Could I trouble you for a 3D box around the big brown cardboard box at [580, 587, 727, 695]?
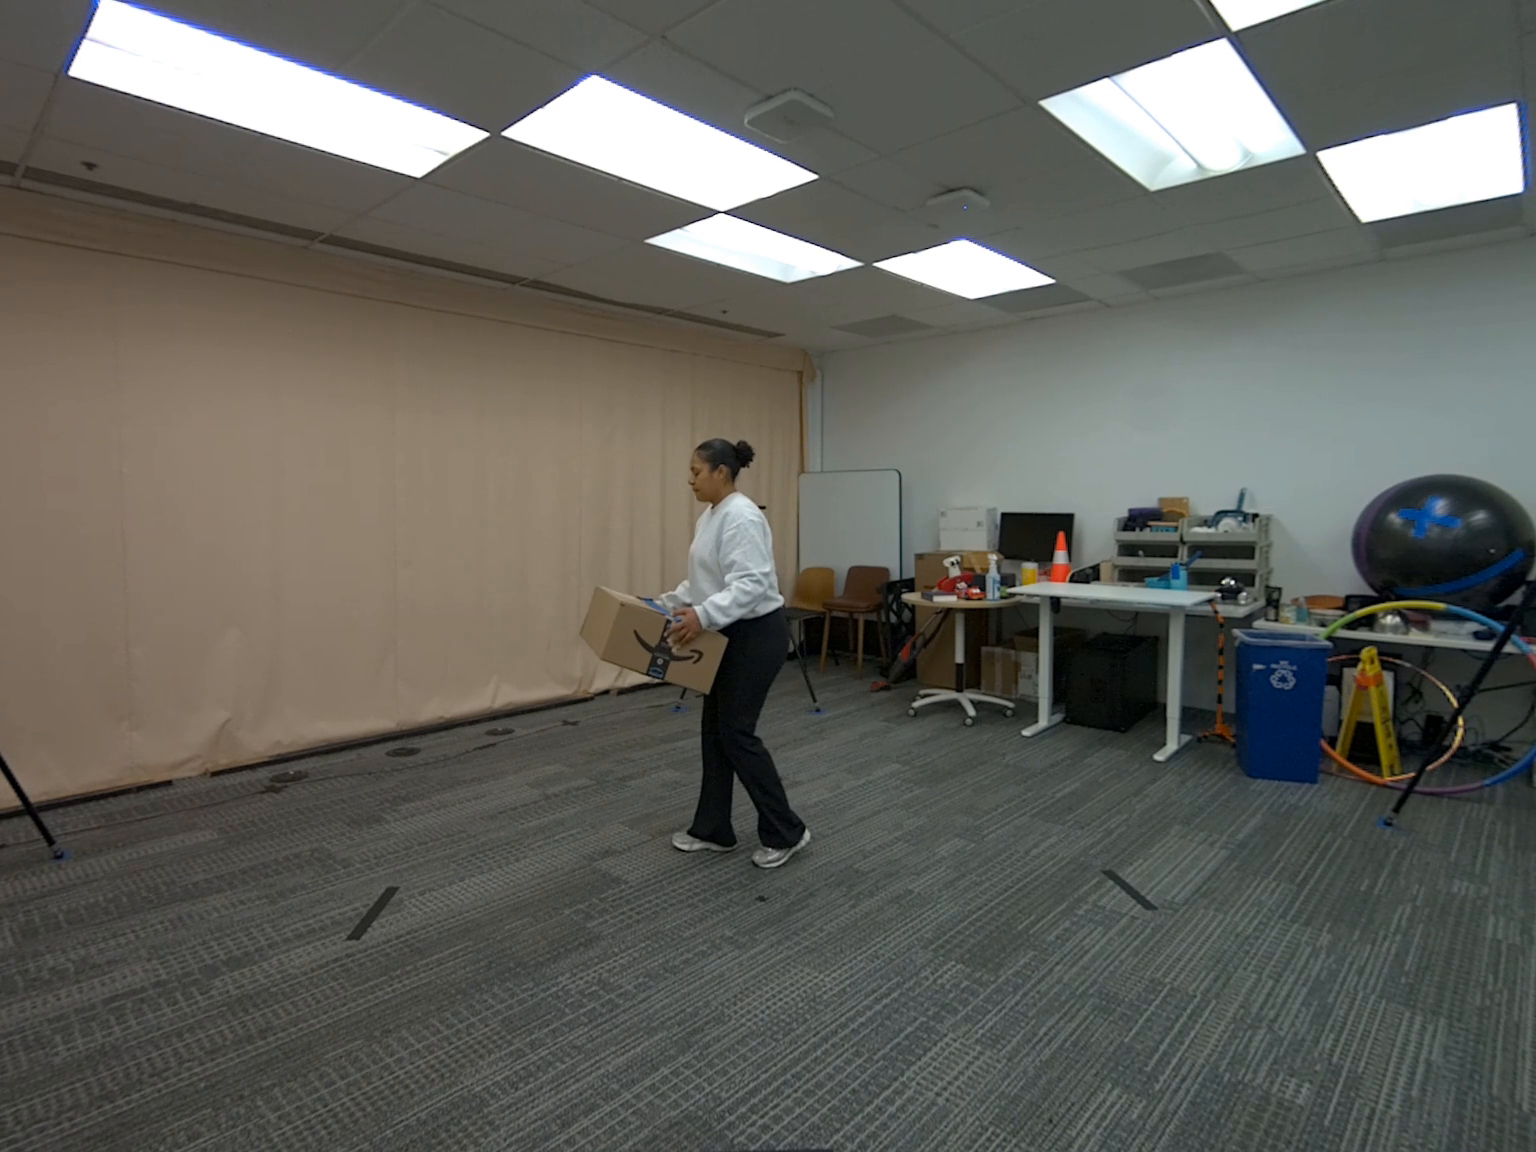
[{"bbox_3d":[-0.450,0.230,3.211,0.408,0.233,0.602,21,-1,-20],"label":"big brown cardboard box"}]
